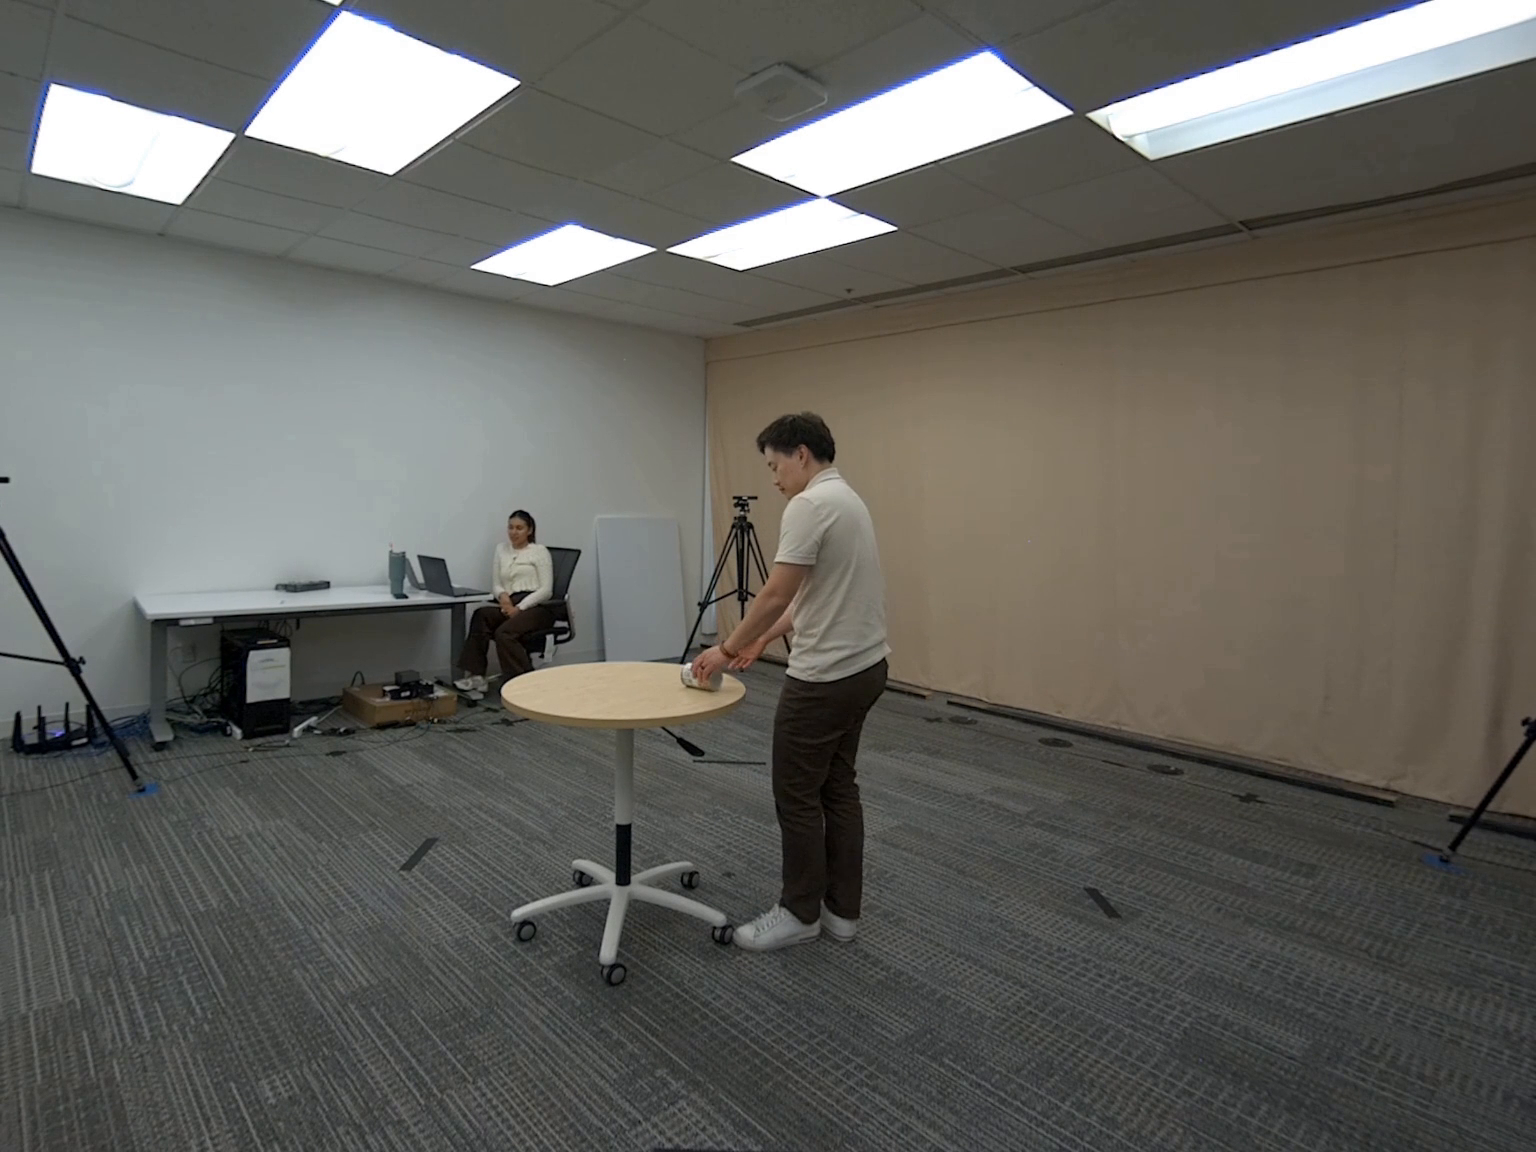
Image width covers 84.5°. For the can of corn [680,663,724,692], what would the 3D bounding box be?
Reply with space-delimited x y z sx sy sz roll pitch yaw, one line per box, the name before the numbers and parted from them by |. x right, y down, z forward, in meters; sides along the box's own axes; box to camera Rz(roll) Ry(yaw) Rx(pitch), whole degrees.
can of corn | -0.212 0.320 2.673 0.113 0.074 0.073 6 6 28
